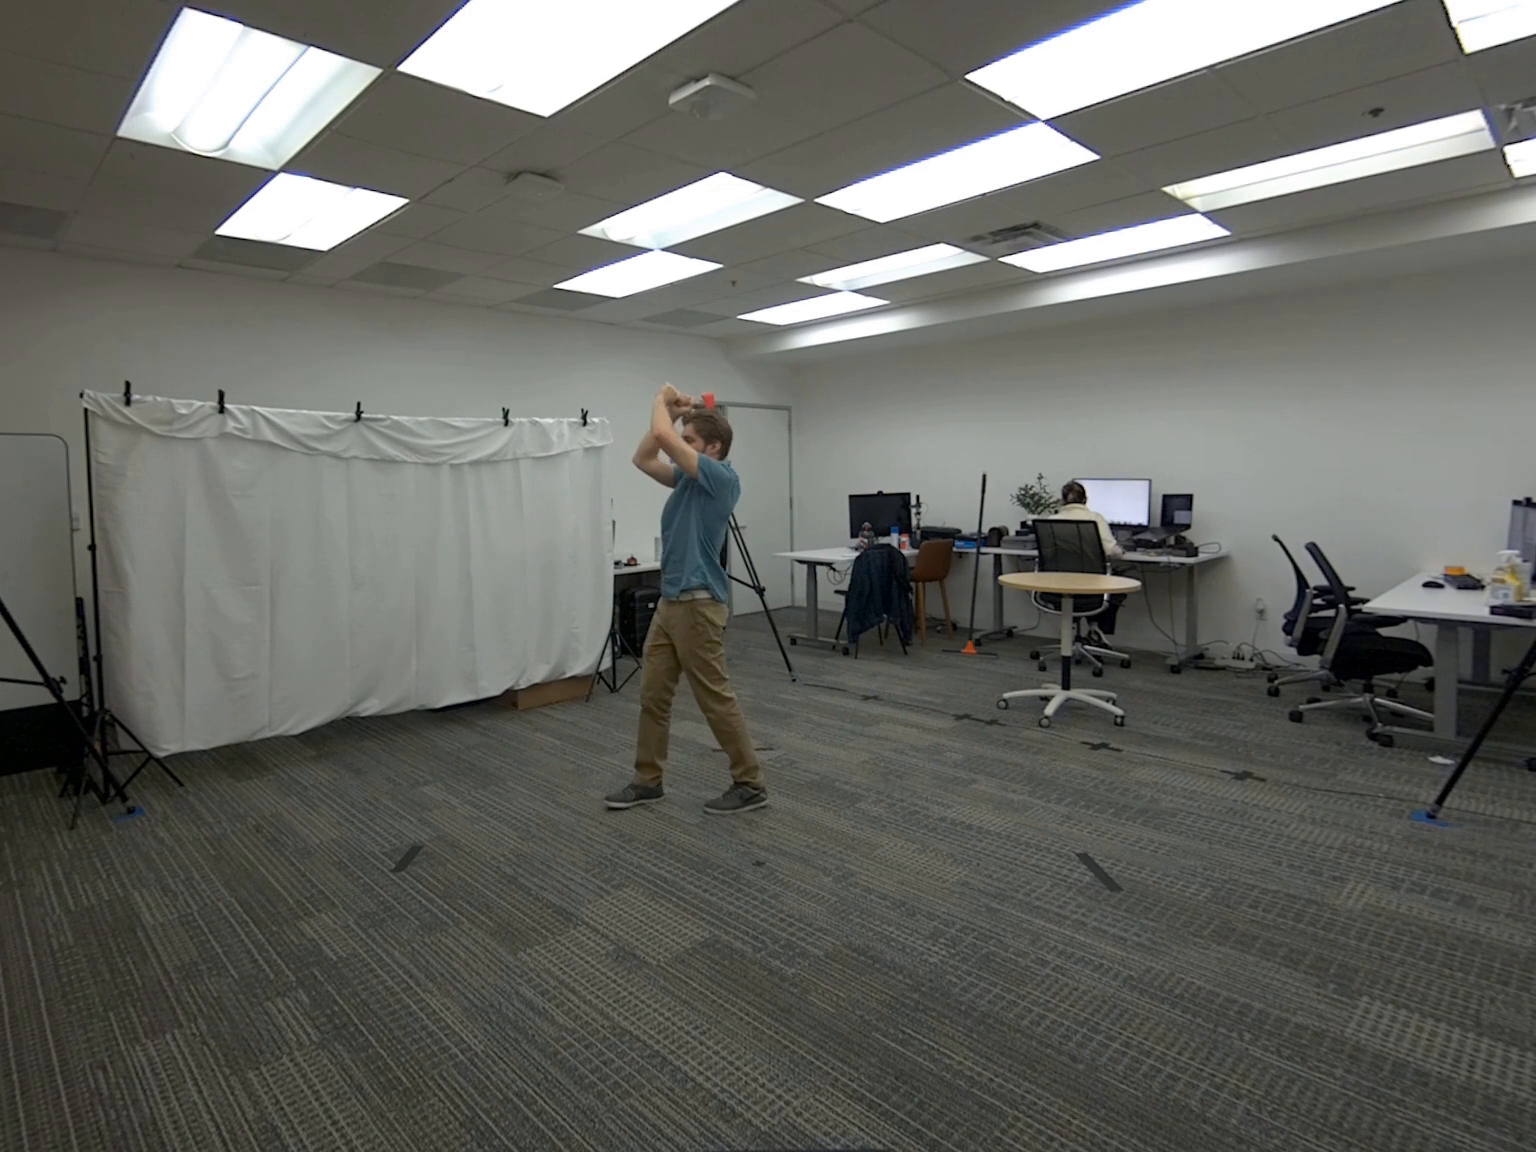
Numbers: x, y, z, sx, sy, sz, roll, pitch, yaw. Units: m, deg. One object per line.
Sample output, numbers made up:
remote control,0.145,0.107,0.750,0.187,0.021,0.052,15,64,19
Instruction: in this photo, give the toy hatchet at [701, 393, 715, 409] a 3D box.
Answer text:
toy hatchet,-0.326,-0.776,3.684,0.260,0.131,0.031,31,-3,-37
